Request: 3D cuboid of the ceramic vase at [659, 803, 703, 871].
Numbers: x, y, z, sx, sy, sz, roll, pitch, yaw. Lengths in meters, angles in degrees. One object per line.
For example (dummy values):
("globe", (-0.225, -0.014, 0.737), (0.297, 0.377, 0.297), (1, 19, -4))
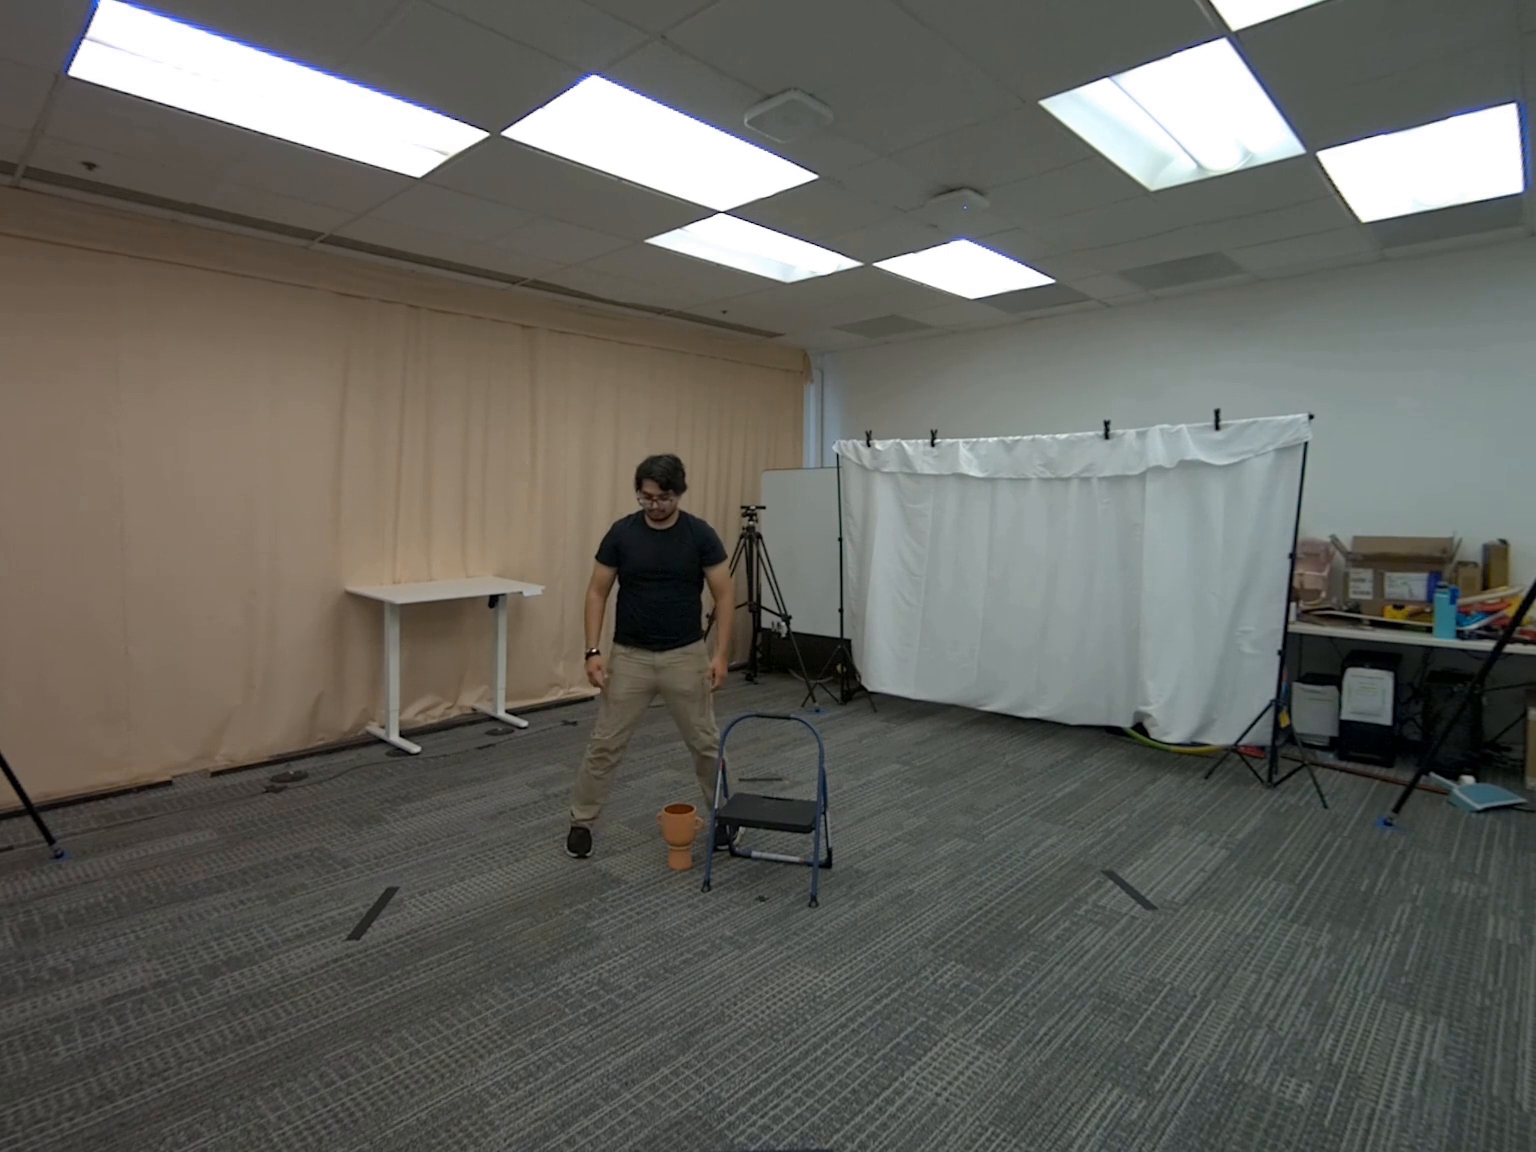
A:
("ceramic vase", (-0.345, 1.013, 3.270), (0.131, 0.219, 0.164), (-3, 4, -33))
